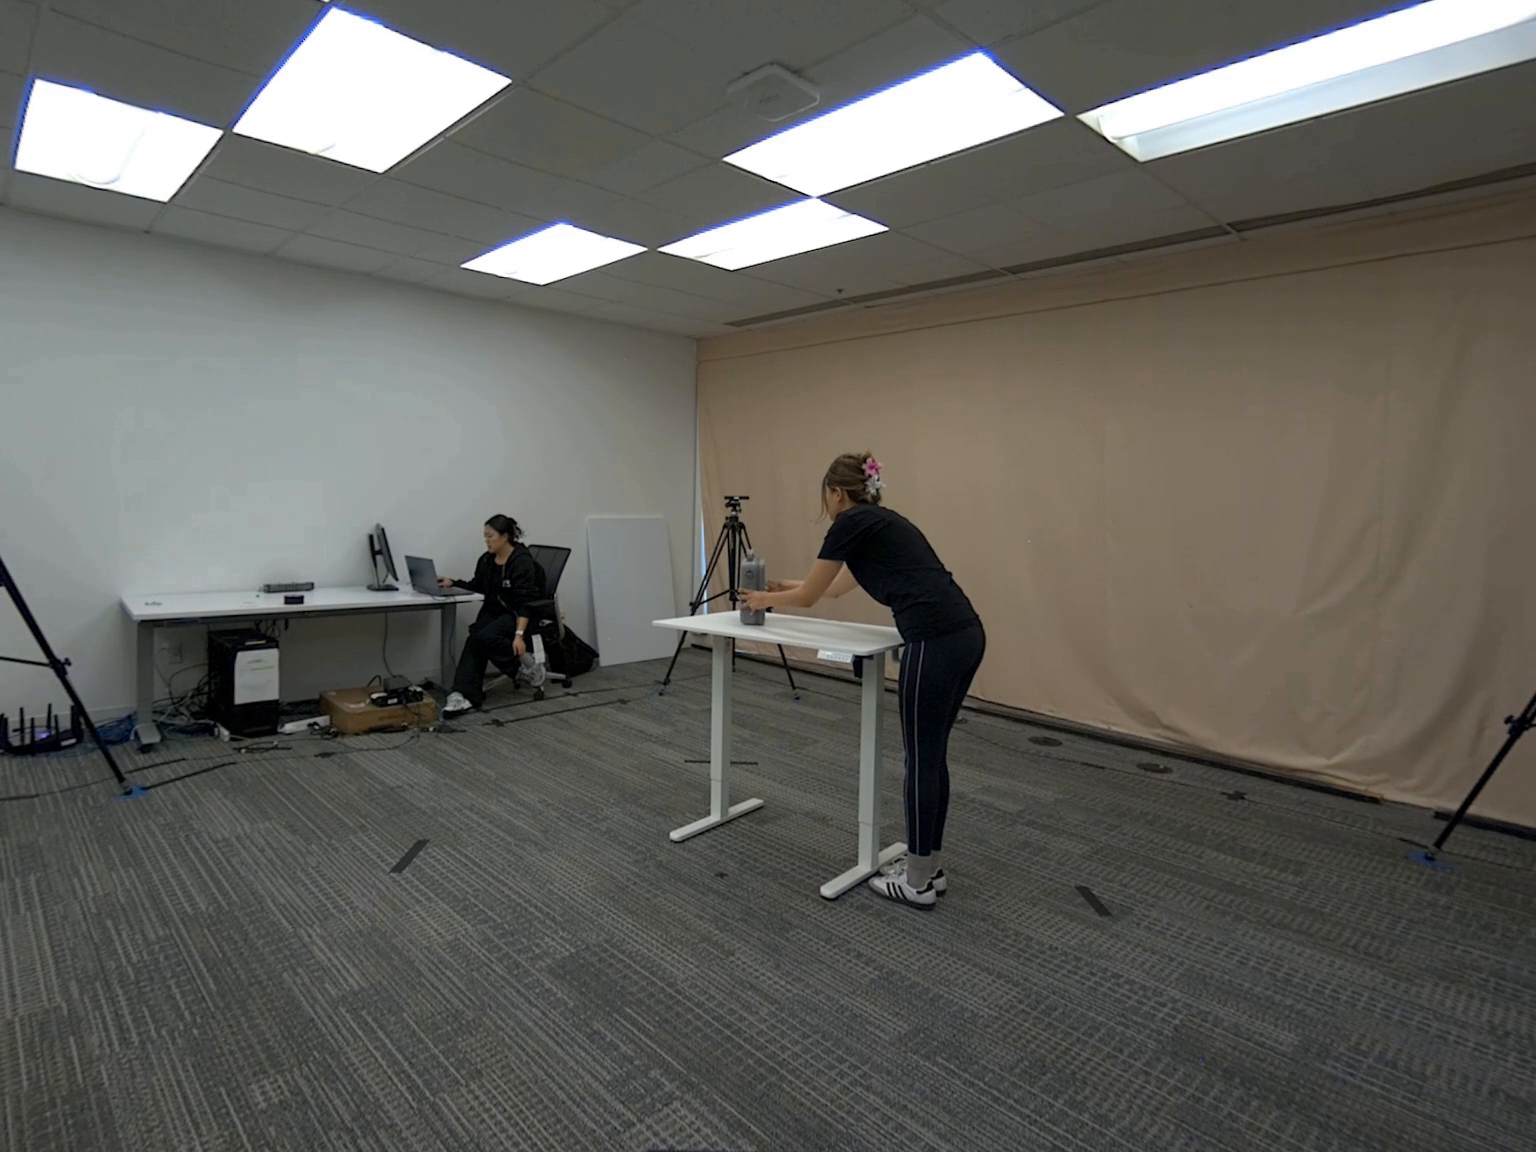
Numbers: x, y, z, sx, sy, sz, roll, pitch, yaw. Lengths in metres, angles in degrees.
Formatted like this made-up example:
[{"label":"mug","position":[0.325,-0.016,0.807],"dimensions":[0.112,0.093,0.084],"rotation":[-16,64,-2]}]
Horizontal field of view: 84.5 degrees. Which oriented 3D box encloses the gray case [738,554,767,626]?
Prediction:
[{"label":"gray case","position":[-0.069,0.056,3.481],"dimensions":[0.104,0.260,0.258],"rotation":[3,5,-2]}]
